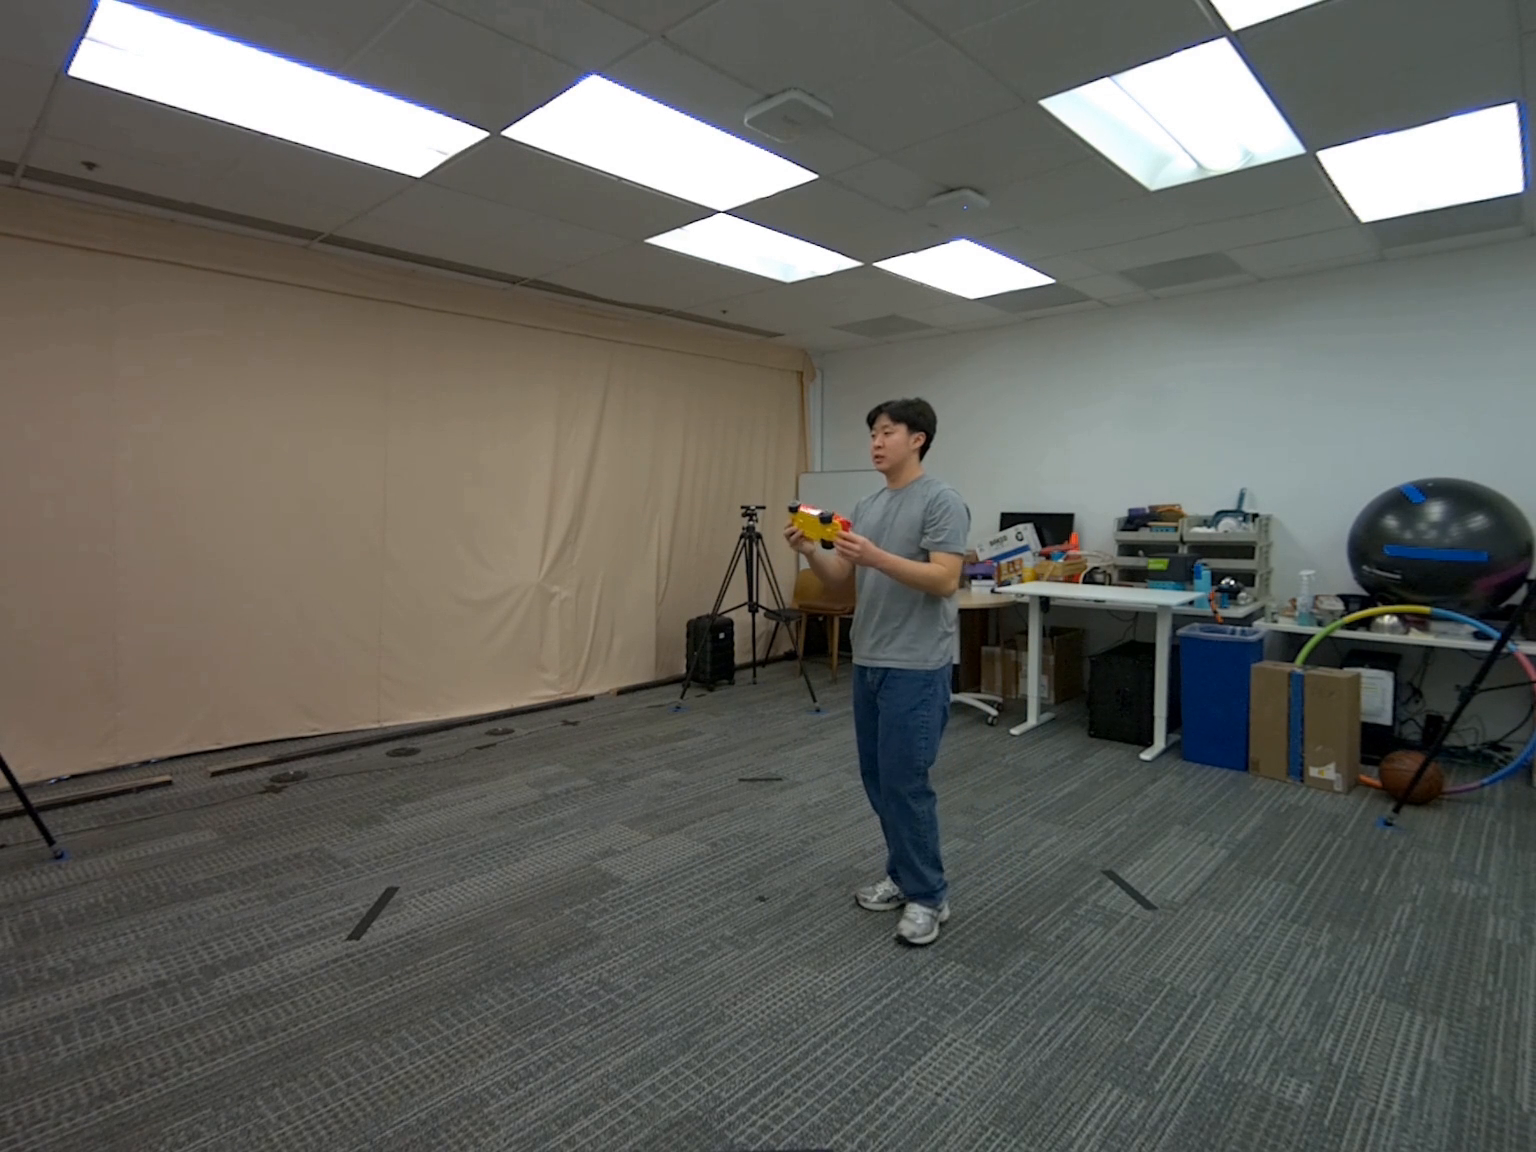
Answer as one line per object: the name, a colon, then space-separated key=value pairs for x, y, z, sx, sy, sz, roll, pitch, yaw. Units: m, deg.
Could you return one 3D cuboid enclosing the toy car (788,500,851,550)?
toy car: x=0.171 y=-0.158 z=2.663 sx=0.263 sy=0.128 sz=0.082 roll=14 pitch=33 yaw=38
